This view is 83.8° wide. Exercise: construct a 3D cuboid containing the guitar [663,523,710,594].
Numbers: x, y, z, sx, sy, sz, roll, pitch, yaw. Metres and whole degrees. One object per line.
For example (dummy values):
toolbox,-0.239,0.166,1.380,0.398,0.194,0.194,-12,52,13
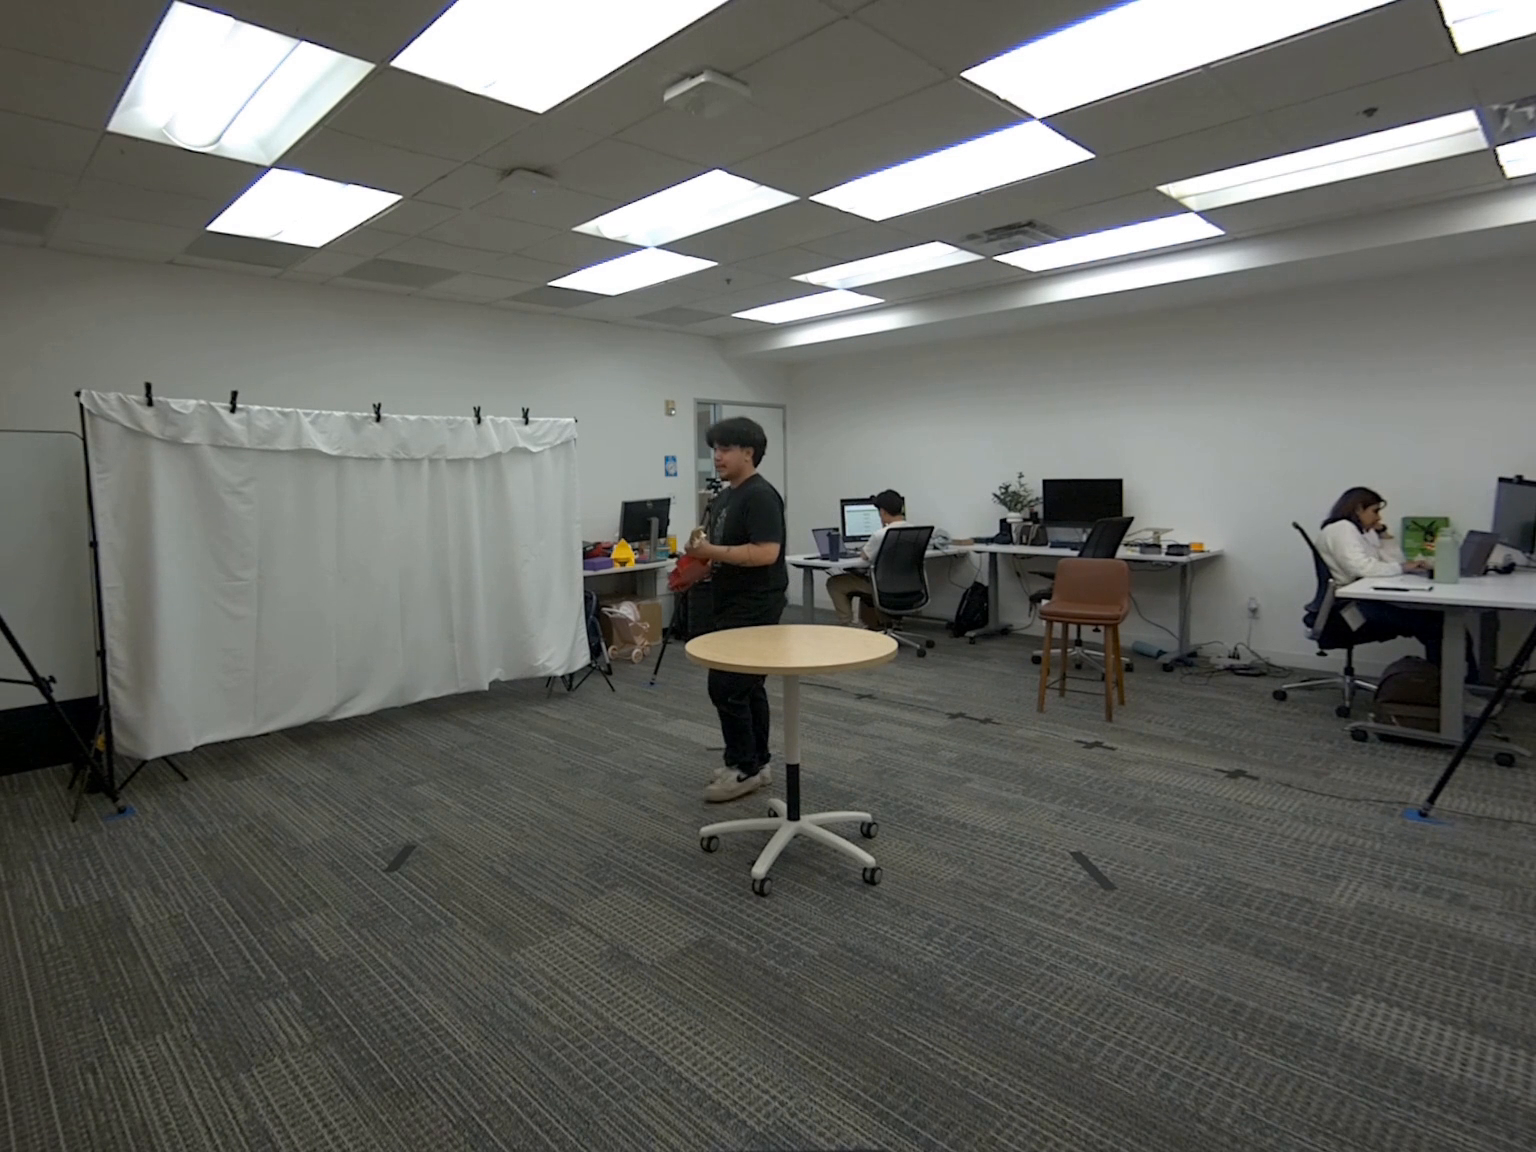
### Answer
guitar,-0.337,-0.069,3.675,0.192,0.072,0.491,-30,-12,-11
